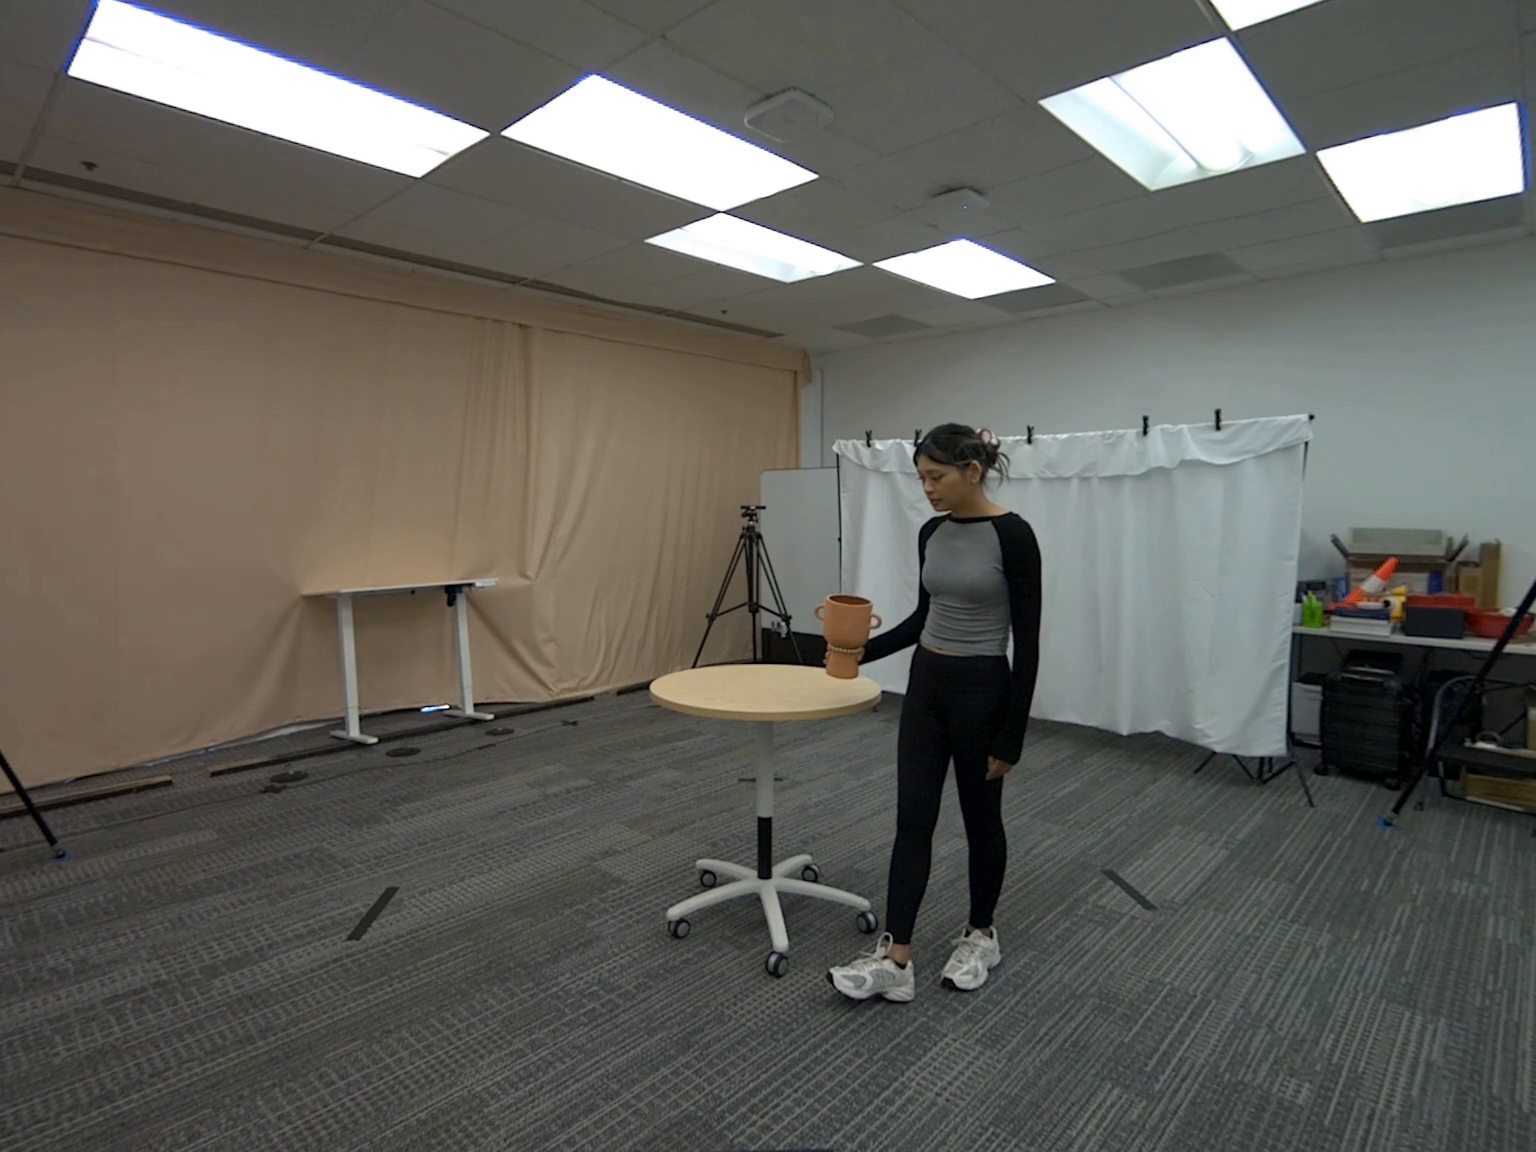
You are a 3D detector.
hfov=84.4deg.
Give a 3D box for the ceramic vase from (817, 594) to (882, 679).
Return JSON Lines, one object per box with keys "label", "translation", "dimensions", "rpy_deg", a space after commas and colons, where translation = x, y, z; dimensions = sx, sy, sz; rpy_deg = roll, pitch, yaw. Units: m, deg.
{"label": "ceramic vase", "translation": [0.230, 0.176, 2.413], "dimensions": [0.131, 0.218, 0.163], "rpy_deg": [0, 11, -26]}
